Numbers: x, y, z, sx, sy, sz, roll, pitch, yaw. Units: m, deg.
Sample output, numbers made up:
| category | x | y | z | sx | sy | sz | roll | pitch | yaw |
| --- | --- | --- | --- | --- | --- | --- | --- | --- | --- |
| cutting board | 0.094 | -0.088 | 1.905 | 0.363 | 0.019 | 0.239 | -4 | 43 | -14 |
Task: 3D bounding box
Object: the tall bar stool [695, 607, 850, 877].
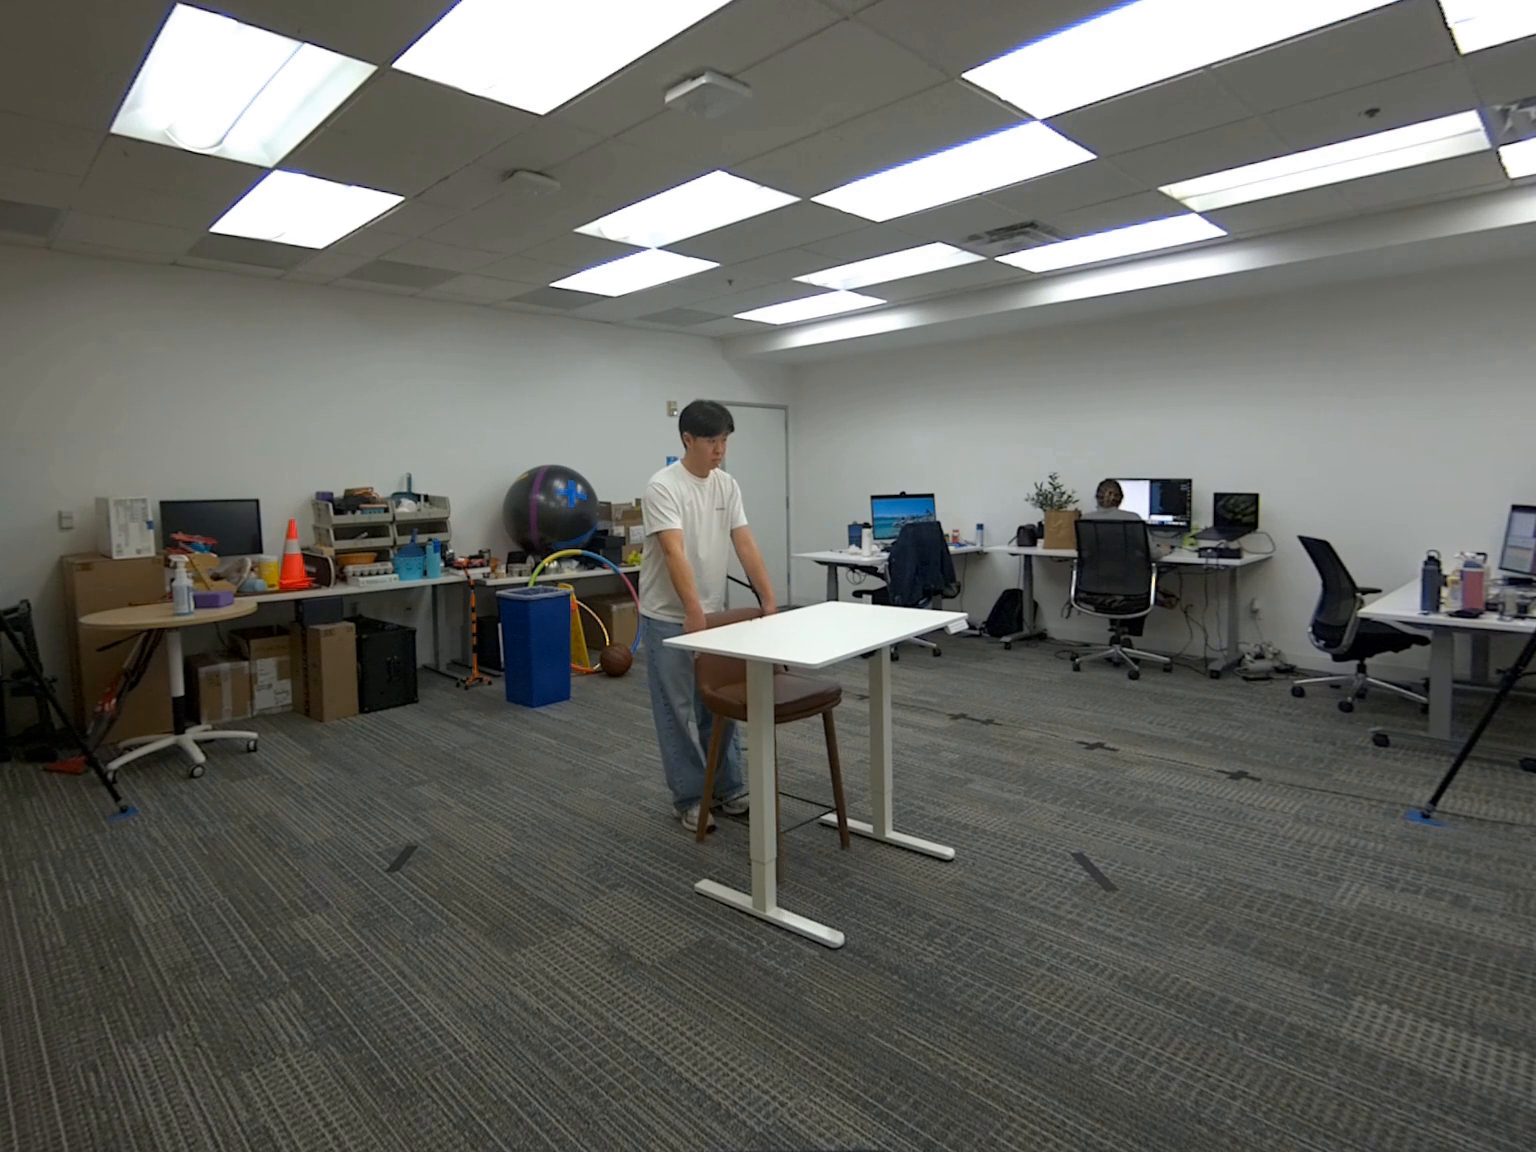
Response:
| category | x | y | z | sx | sy | sz | roll | pitch | yaw |
| --- | --- | --- | --- | --- | --- | --- | --- | --- | --- |
| tall bar stool | -0.008 | 0.590 | 3.244 | 0.444 | 0.888 | 0.481 | -4 | 2 | -43 |
